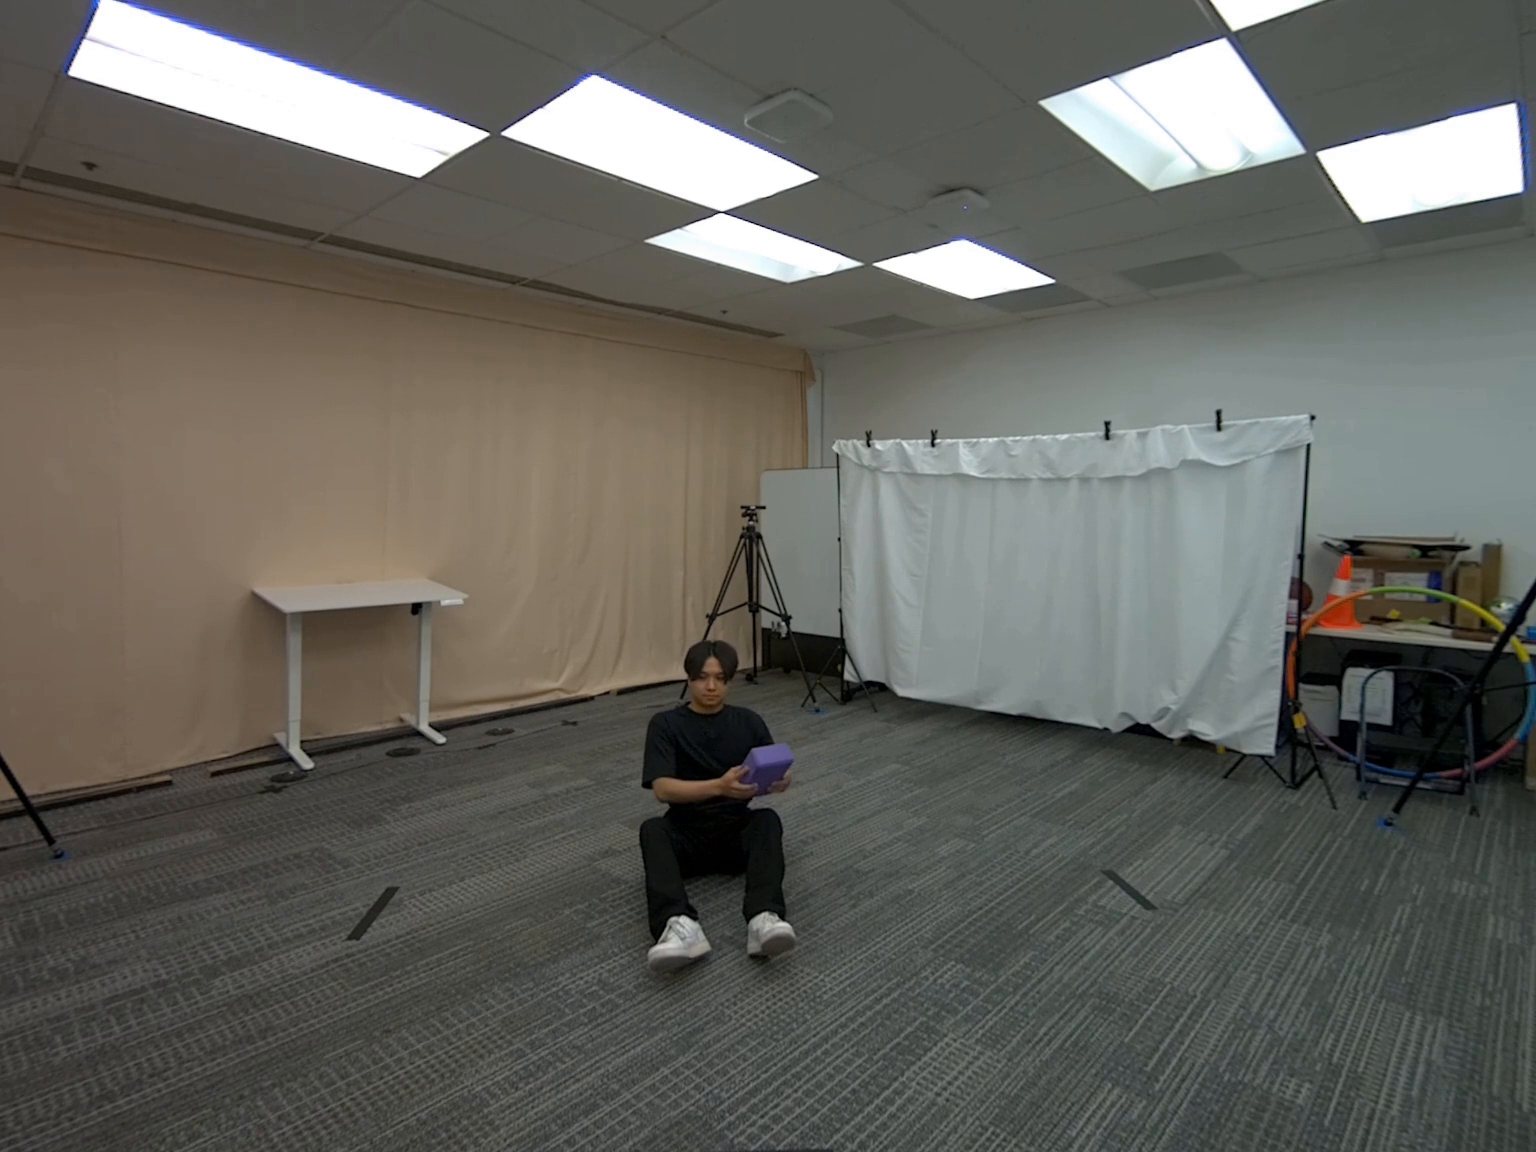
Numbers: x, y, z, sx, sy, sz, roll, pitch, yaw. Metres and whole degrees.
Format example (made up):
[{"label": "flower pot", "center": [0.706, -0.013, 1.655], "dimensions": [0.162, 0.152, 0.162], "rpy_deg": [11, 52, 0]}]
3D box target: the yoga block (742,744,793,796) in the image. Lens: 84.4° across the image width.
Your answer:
[{"label": "yoga block", "center": [-0.025, 0.683, 2.946], "dimensions": [0.145, 0.079, 0.229], "rpy_deg": [-3, -41, -31]}]
